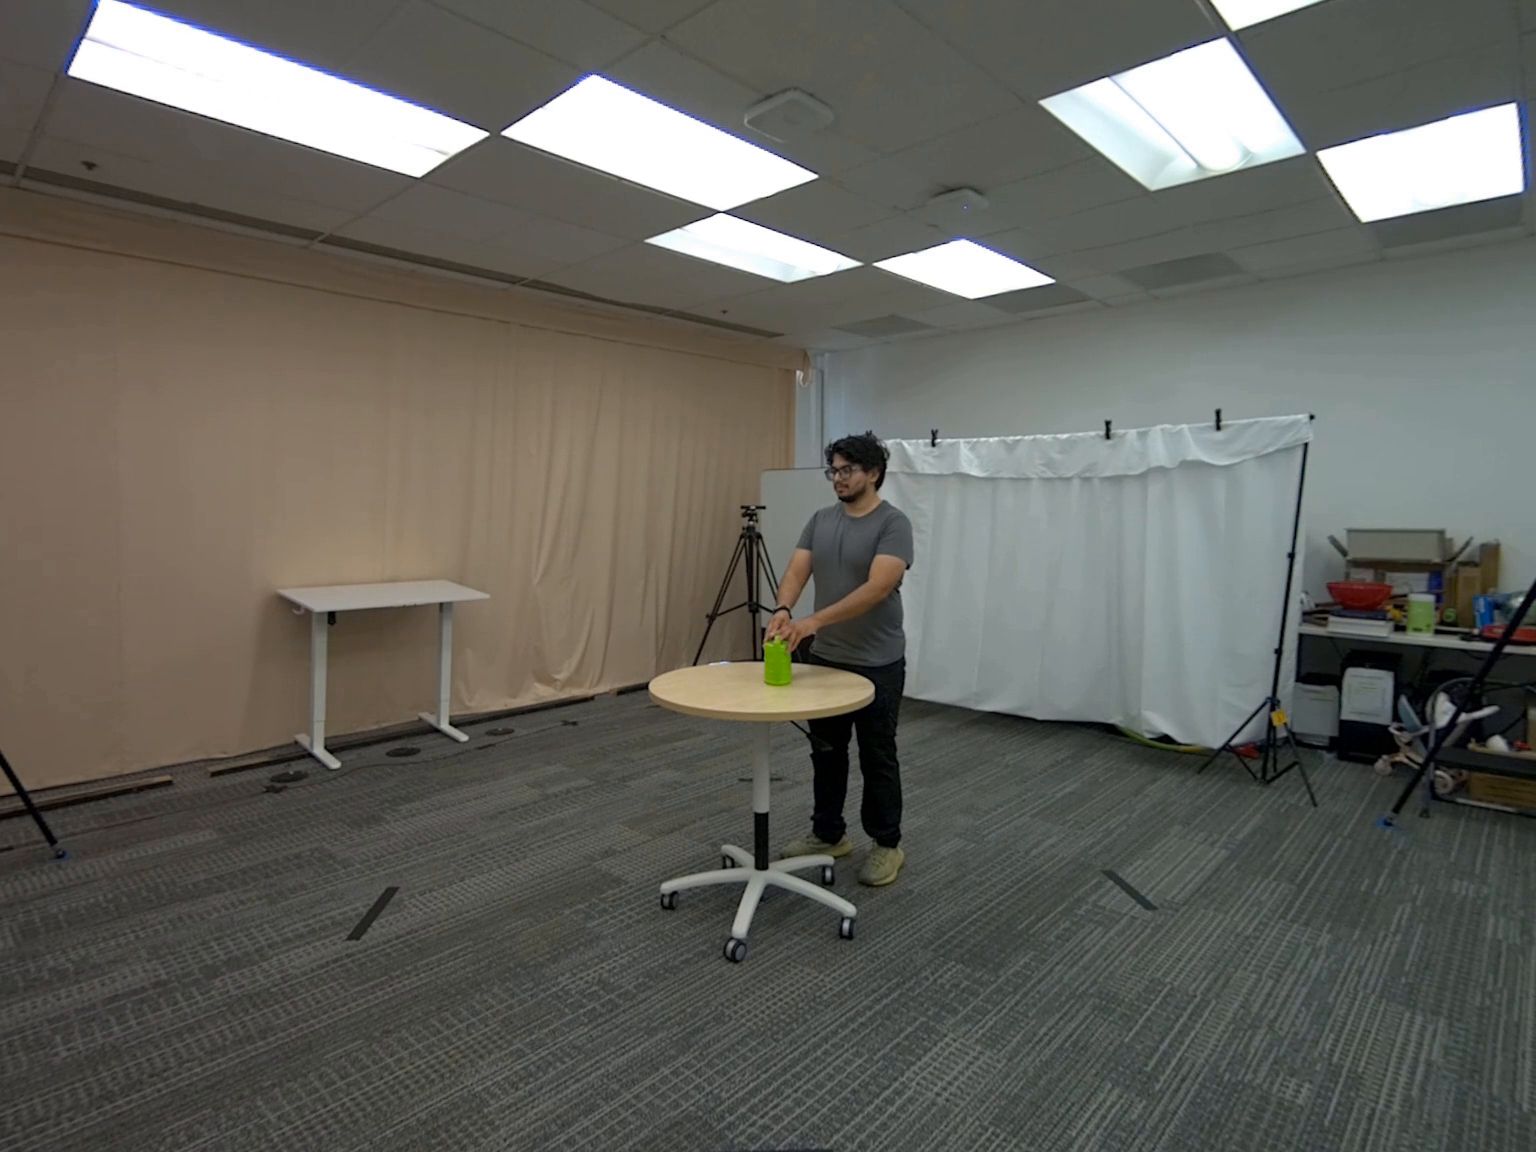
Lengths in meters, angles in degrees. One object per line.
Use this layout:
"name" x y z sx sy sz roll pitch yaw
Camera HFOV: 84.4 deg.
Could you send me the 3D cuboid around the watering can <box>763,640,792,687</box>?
"watering can" 0.018 0.287 2.864 0.101 0.177 0.271 4 2 27
